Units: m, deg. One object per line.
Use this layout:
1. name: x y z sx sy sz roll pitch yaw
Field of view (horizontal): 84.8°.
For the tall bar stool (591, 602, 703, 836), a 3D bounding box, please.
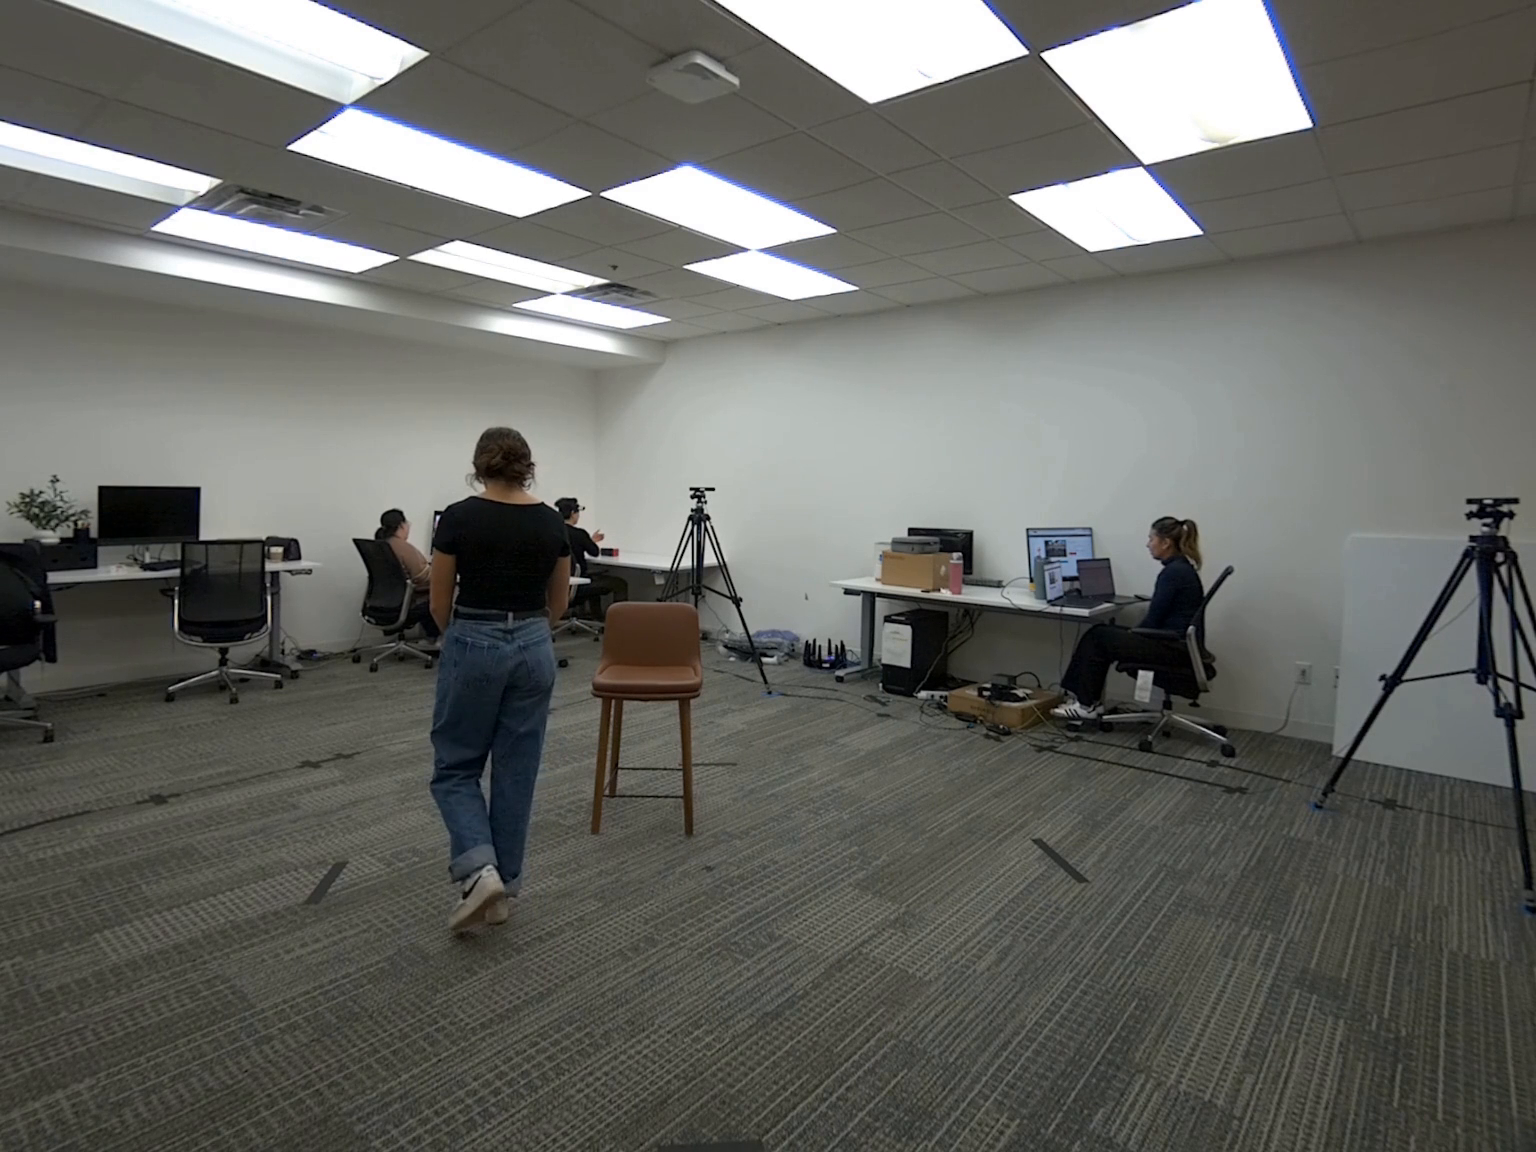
1. tall bar stool: -0.520 0.578 3.605 0.456 0.889 0.469 1 2 -2
